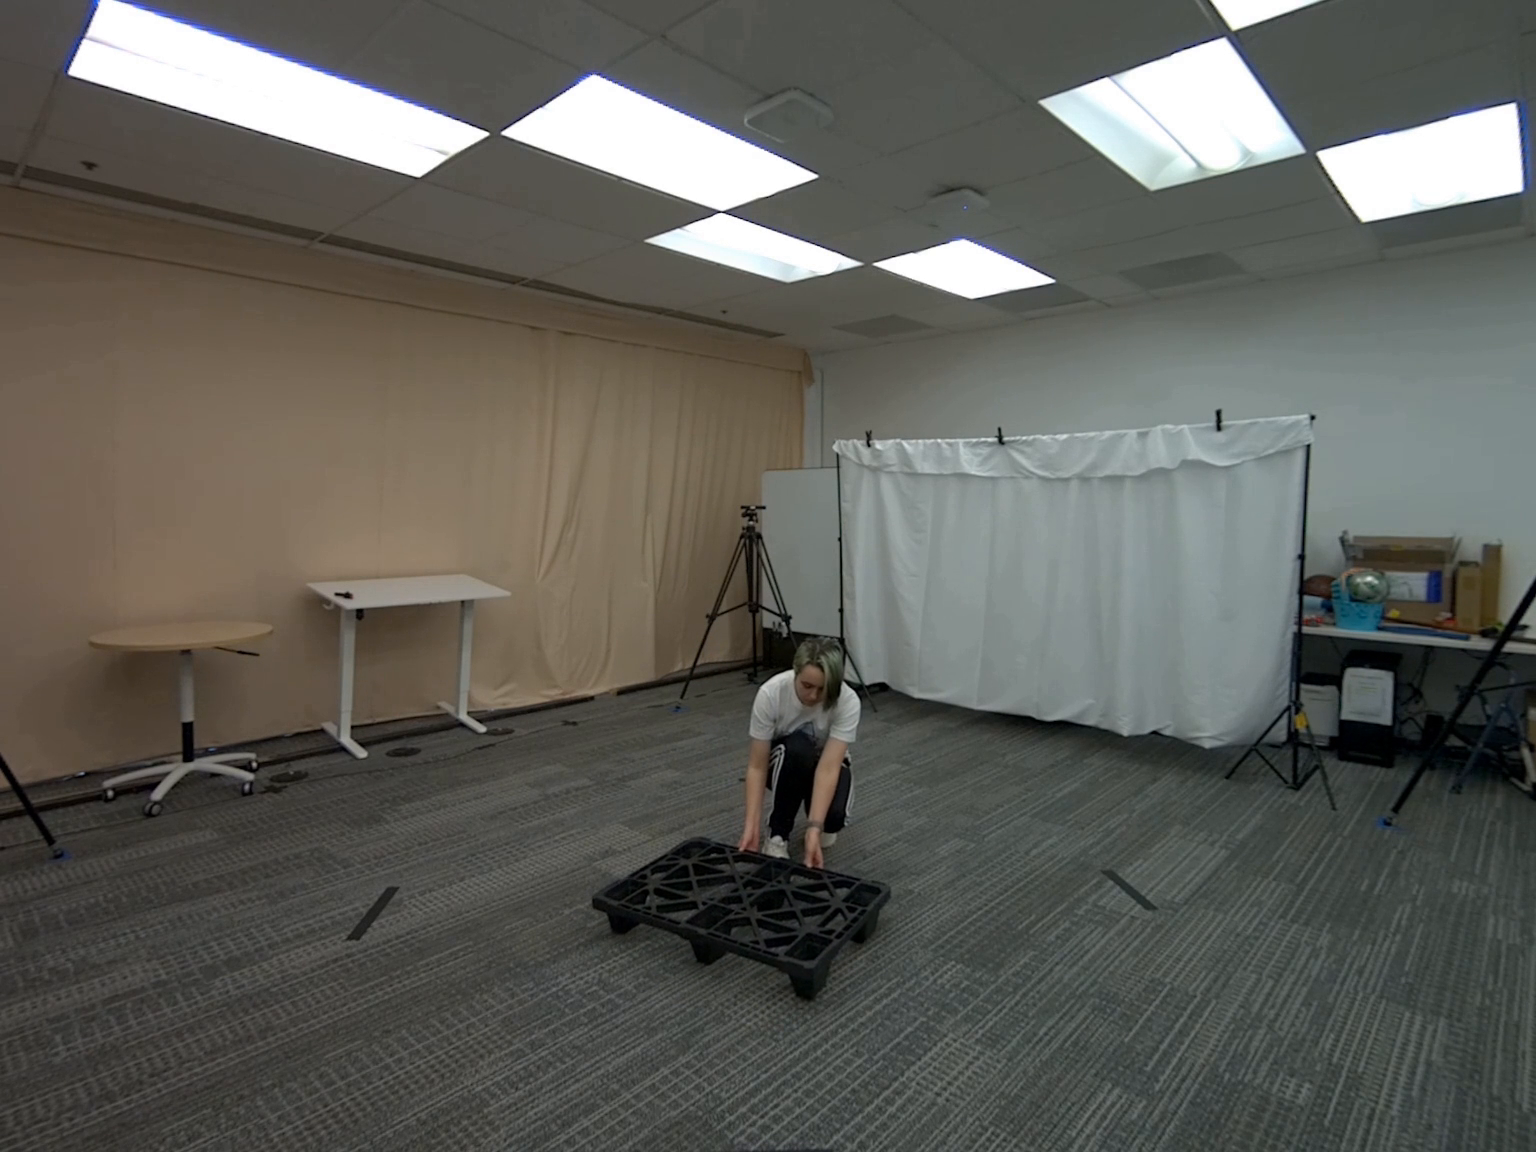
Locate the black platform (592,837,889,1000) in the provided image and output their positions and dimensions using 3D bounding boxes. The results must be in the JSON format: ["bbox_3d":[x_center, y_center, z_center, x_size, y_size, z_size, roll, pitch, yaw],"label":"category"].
[{"bbox_3d":[-0.087,1.097,2.755,0.830,0.143,0.589,3,5,31],"label":"black platform"}]
